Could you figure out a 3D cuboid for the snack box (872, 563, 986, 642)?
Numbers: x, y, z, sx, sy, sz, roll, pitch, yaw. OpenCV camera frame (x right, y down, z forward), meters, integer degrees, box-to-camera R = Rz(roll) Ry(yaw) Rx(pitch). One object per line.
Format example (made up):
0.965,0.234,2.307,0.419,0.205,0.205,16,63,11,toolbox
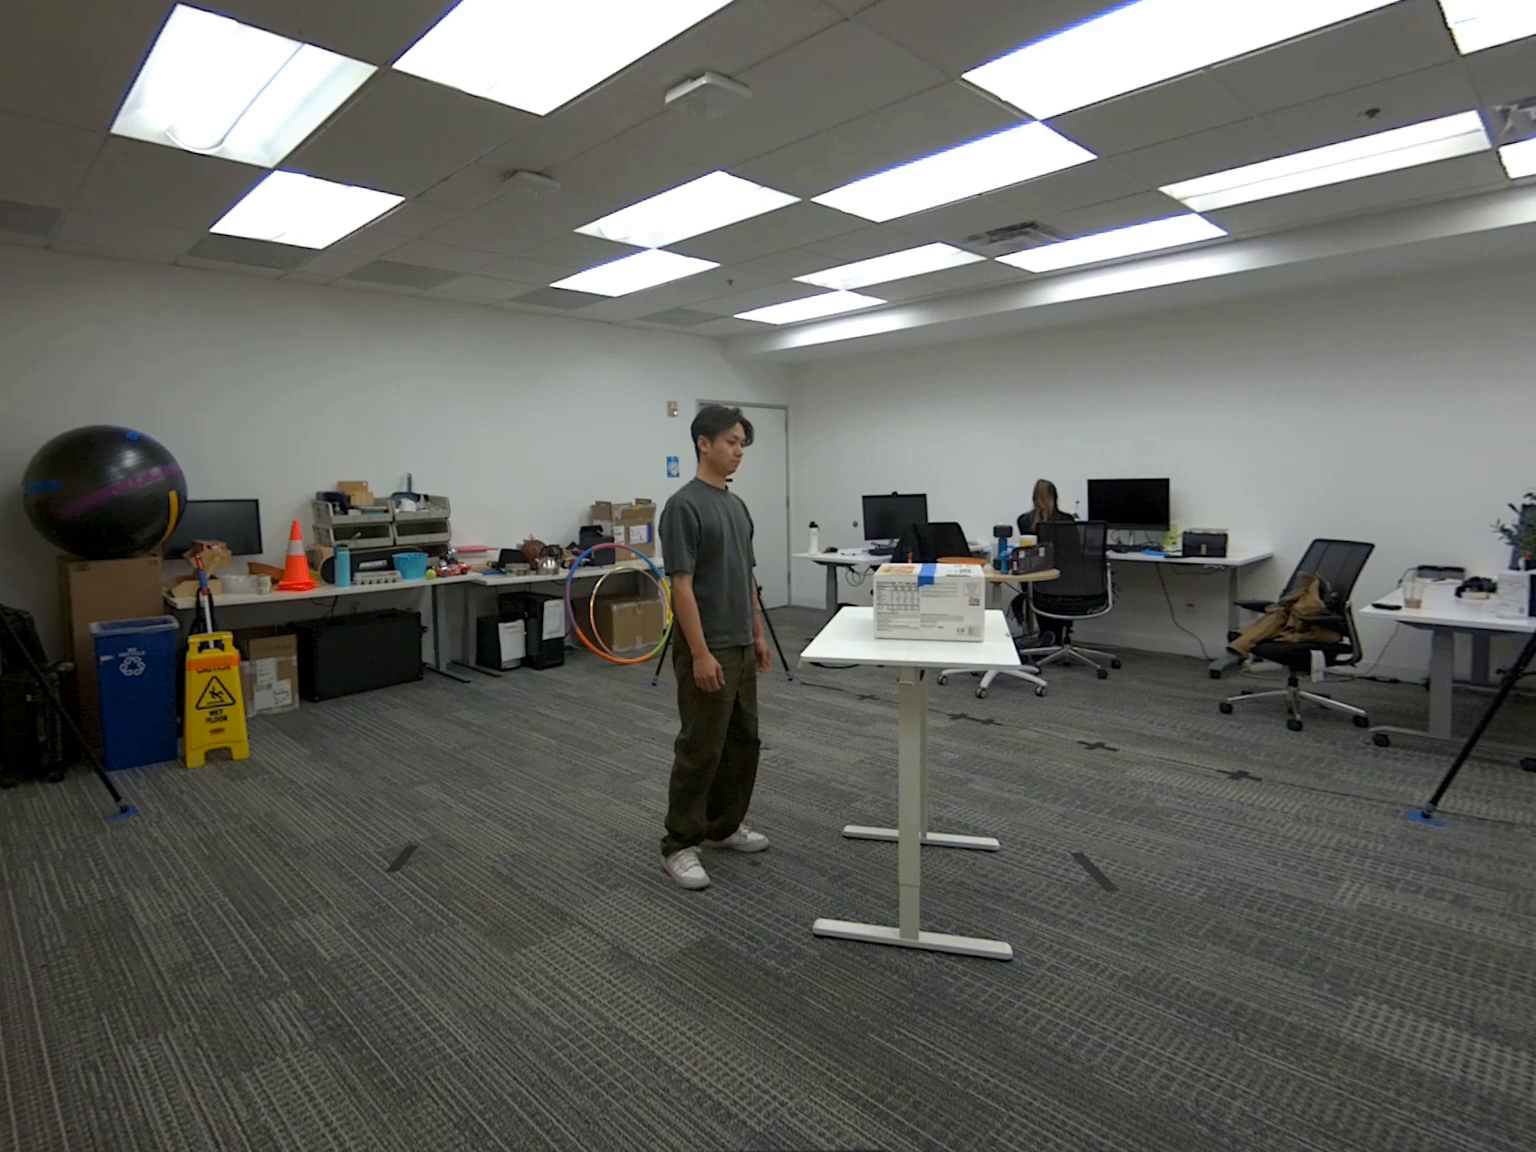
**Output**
0.538,0.079,2.850,0.345,0.205,0.401,0,5,13,snack box
